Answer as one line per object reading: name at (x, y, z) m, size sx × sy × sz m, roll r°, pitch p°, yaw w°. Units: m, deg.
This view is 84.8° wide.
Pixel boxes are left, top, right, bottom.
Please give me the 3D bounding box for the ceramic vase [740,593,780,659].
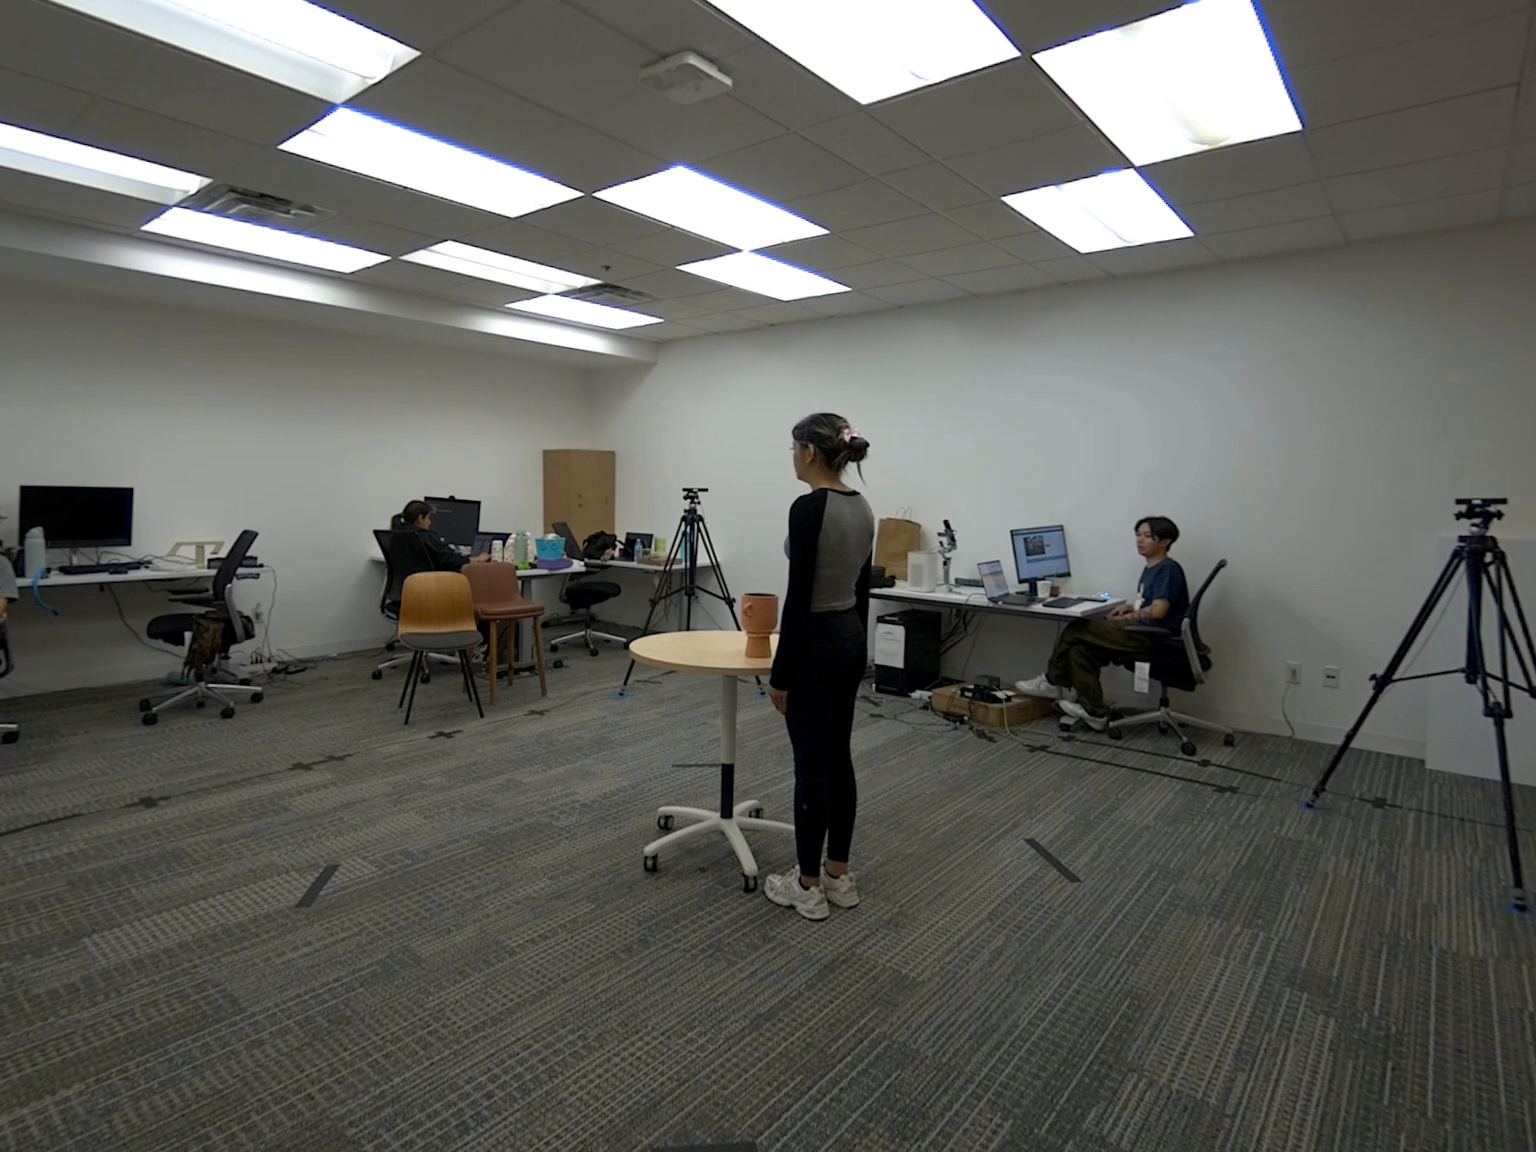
ceramic vase at (-0.038, 0.177, 3.059) m, size 0.156 × 0.219 × 0.137 m, roll 1°, pitch 3°, yaw -14°
